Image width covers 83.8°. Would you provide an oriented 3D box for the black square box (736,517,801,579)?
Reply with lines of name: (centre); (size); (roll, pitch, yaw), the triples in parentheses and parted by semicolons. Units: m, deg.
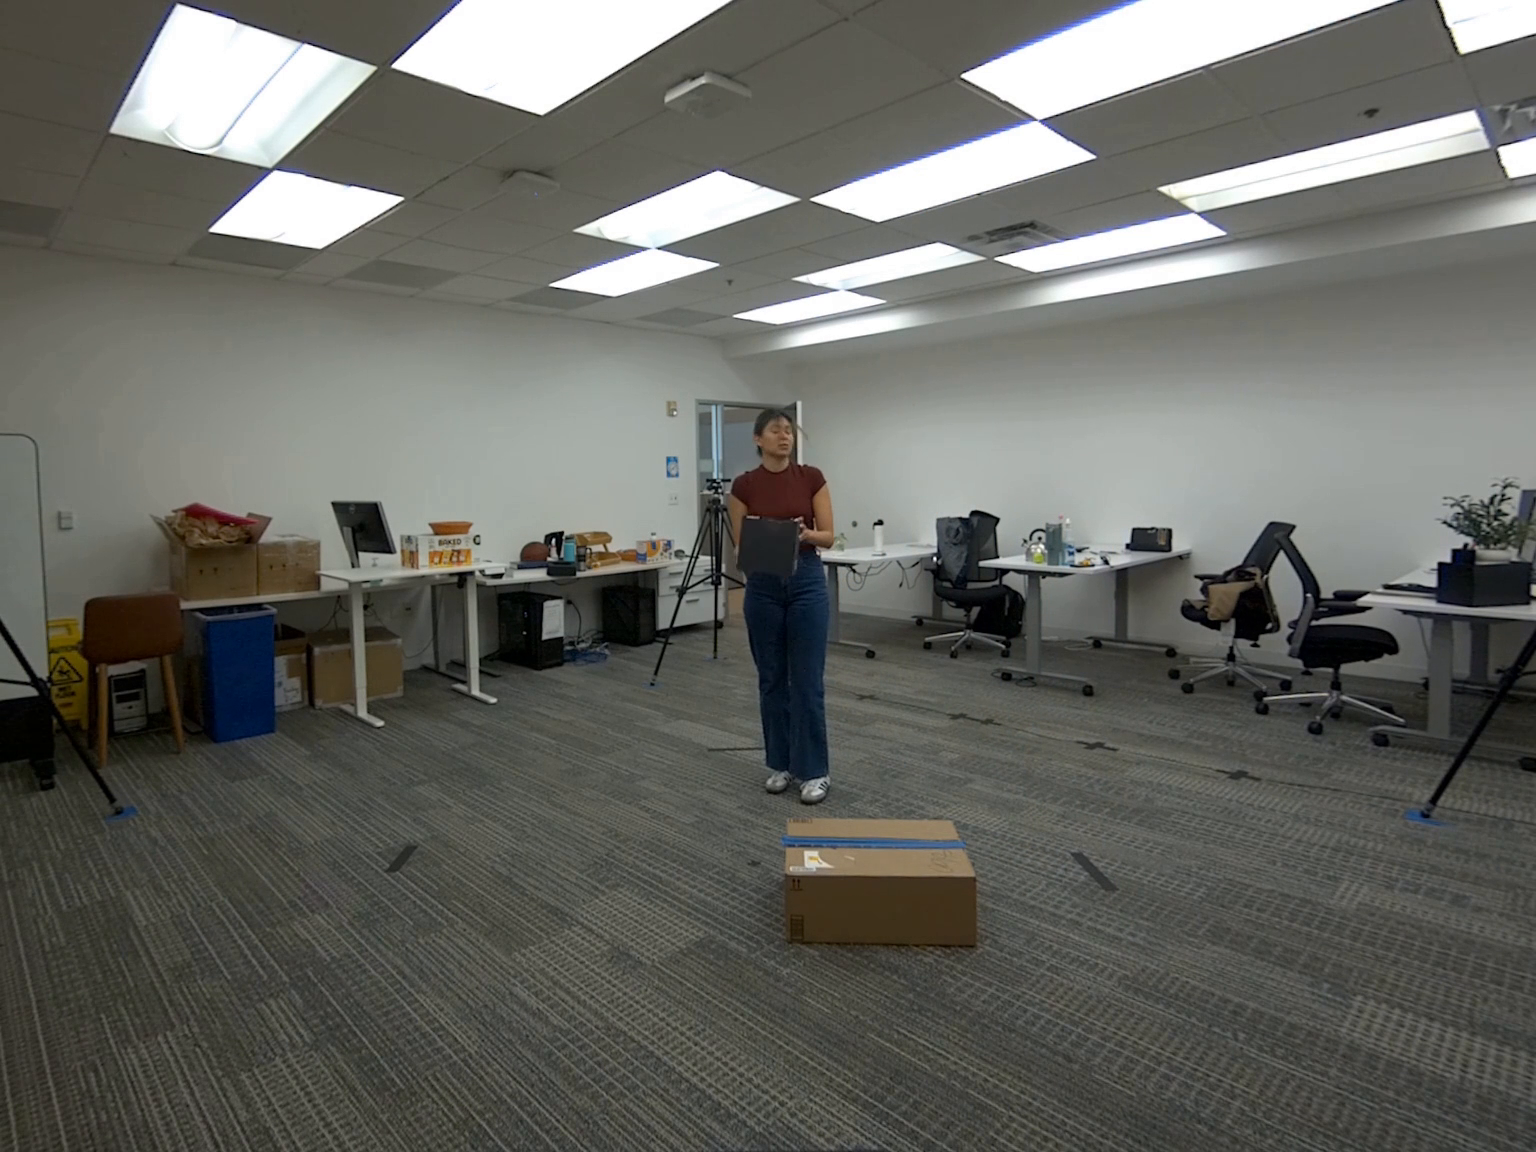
black square box: (-0.009, -0.117, 3.456); (0.229, 0.216, 0.155); (8, 3, 6)
